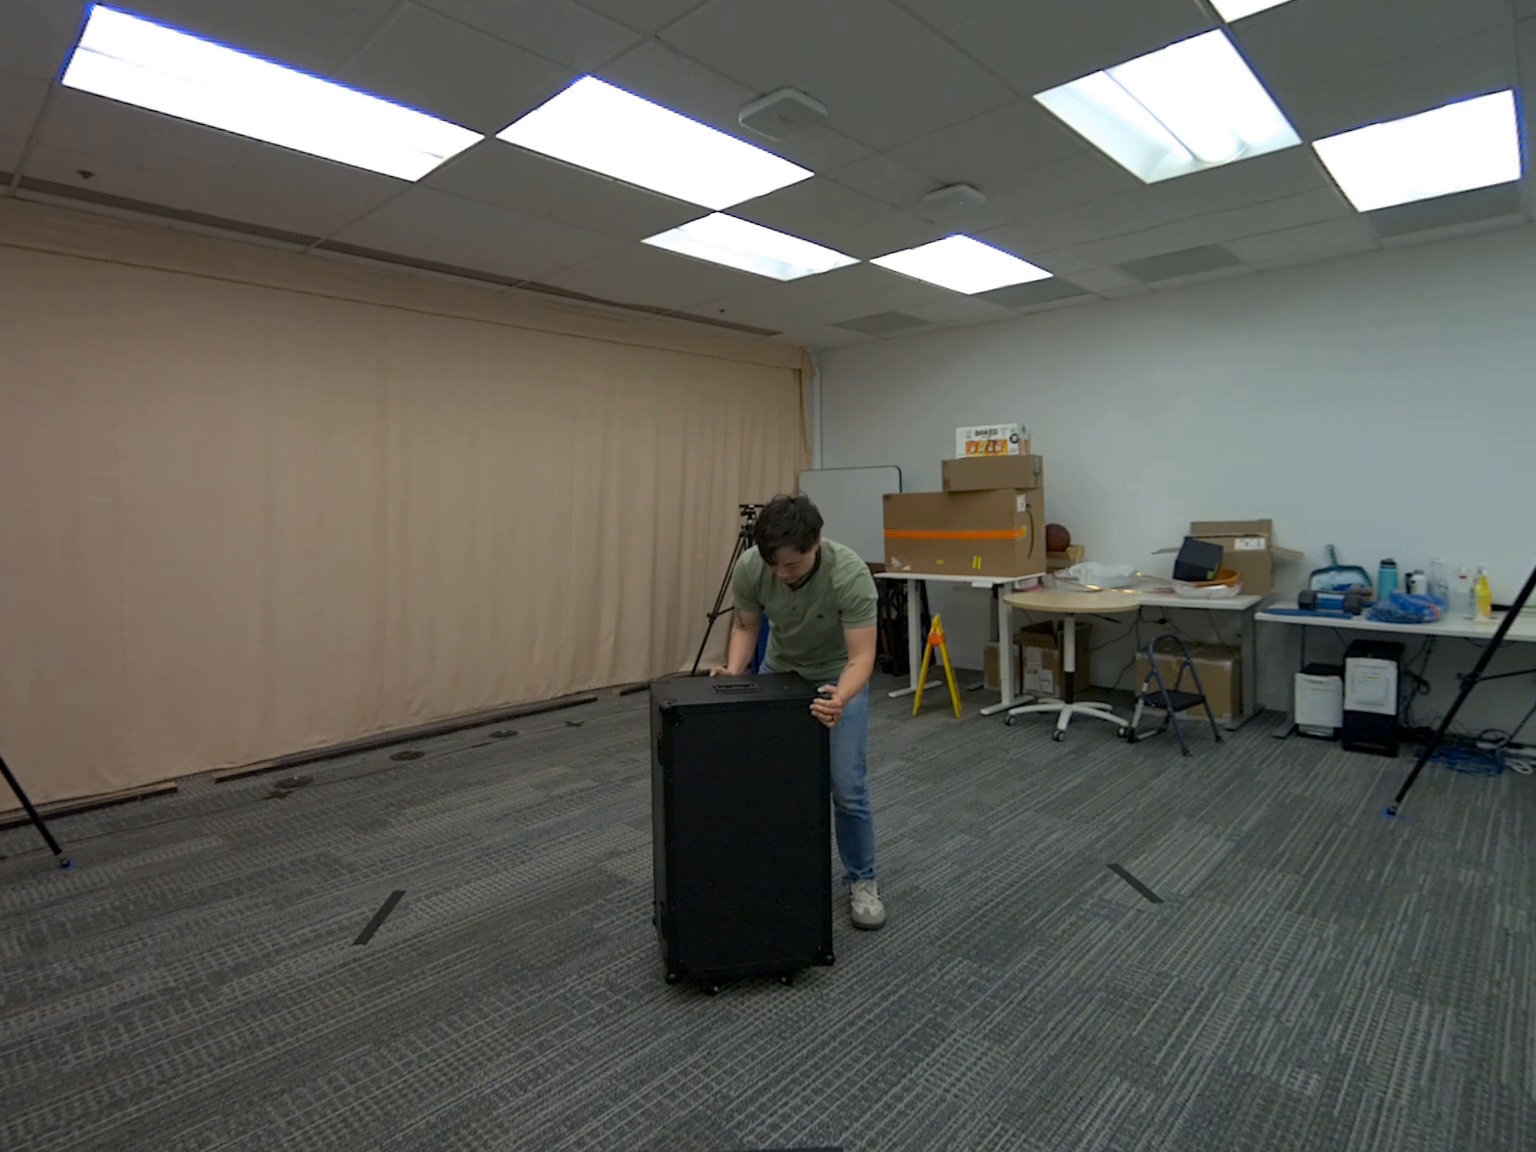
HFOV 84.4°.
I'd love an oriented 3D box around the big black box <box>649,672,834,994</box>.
[{"bbox_3d":[-0.094,0.700,2.525,0.515,0.859,0.402,-2,4,-12],"label":"big black box"}]
